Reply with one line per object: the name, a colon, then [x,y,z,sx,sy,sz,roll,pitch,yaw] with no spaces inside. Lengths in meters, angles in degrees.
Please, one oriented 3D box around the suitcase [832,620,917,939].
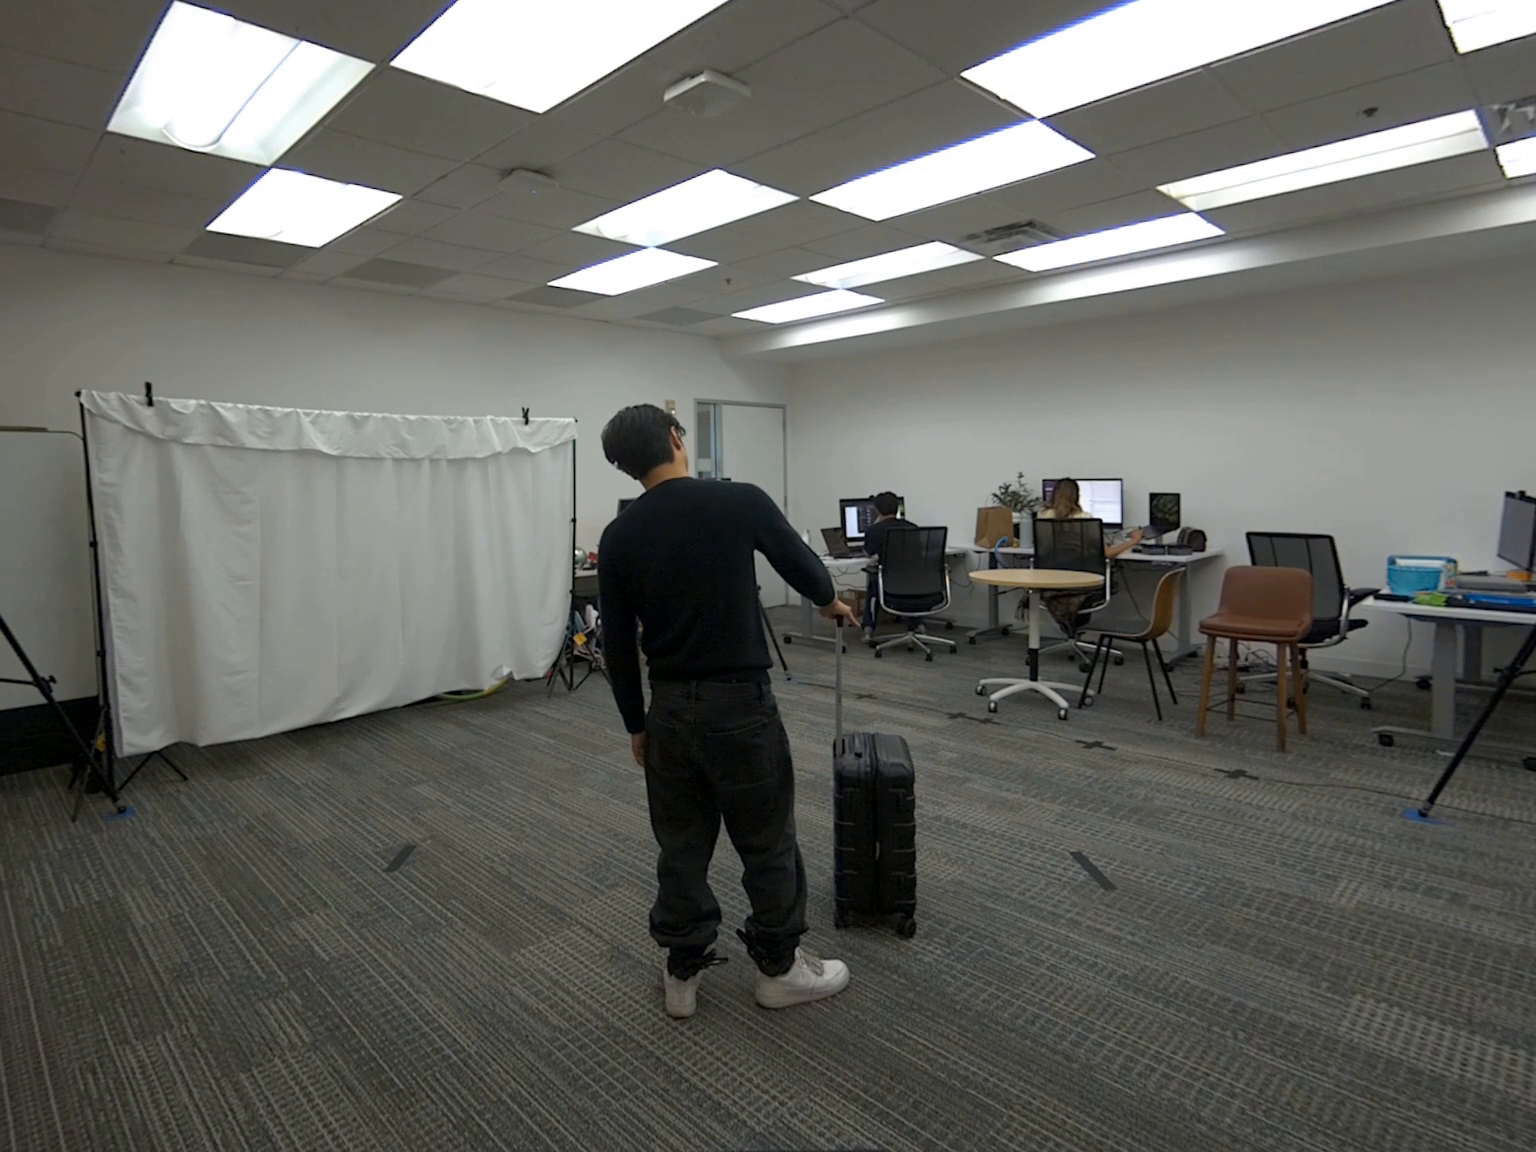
suitcase: [0.343,0.602,2.736,0.258,0.974,0.383,1,5,5]
